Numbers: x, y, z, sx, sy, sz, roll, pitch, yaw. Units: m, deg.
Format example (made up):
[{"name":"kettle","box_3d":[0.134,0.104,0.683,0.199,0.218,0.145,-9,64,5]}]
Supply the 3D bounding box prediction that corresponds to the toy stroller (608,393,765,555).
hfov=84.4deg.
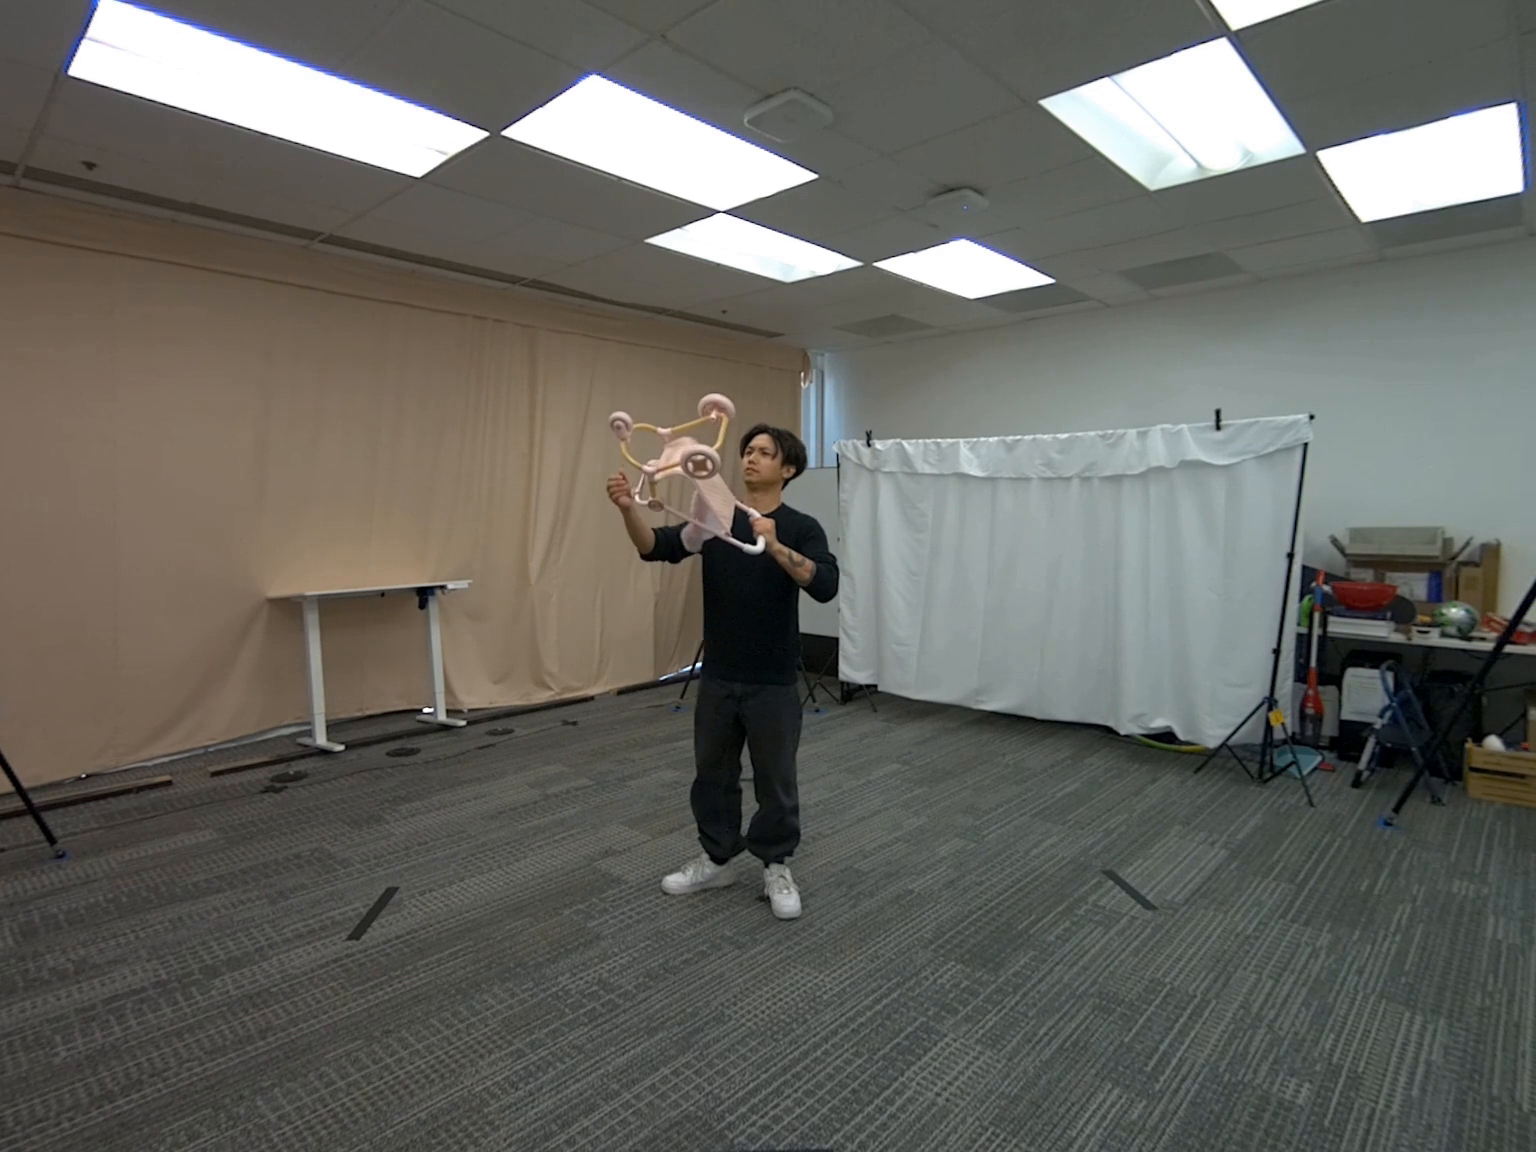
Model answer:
[{"name":"toy stroller","box_3d":[-0.238,-0.275,2.475,0.346,0.520,0.285,-8,42,13]}]
